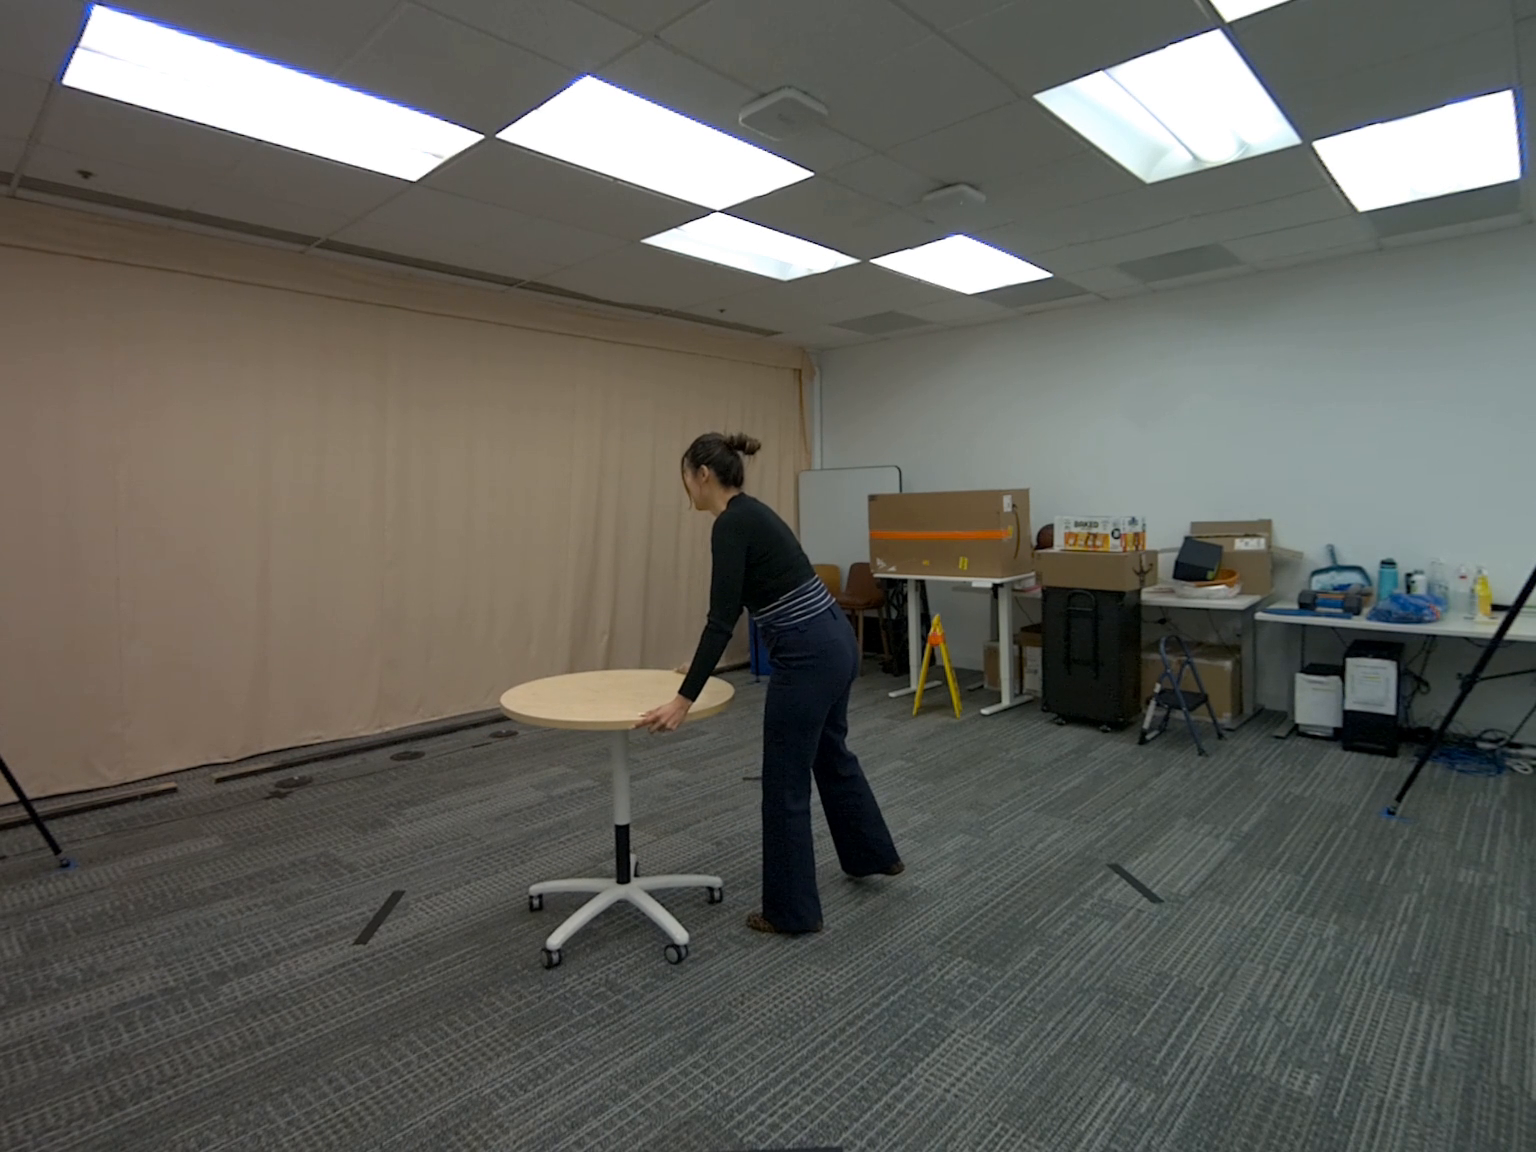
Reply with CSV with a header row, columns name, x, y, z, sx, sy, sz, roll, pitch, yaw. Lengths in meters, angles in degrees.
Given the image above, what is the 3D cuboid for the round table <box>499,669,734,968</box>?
name,x,y,z,sx,sy,sz,roll,pitch,yaw
round table,-0.484,0.779,2.811,0.763,0.792,0.767,-1,4,-2
